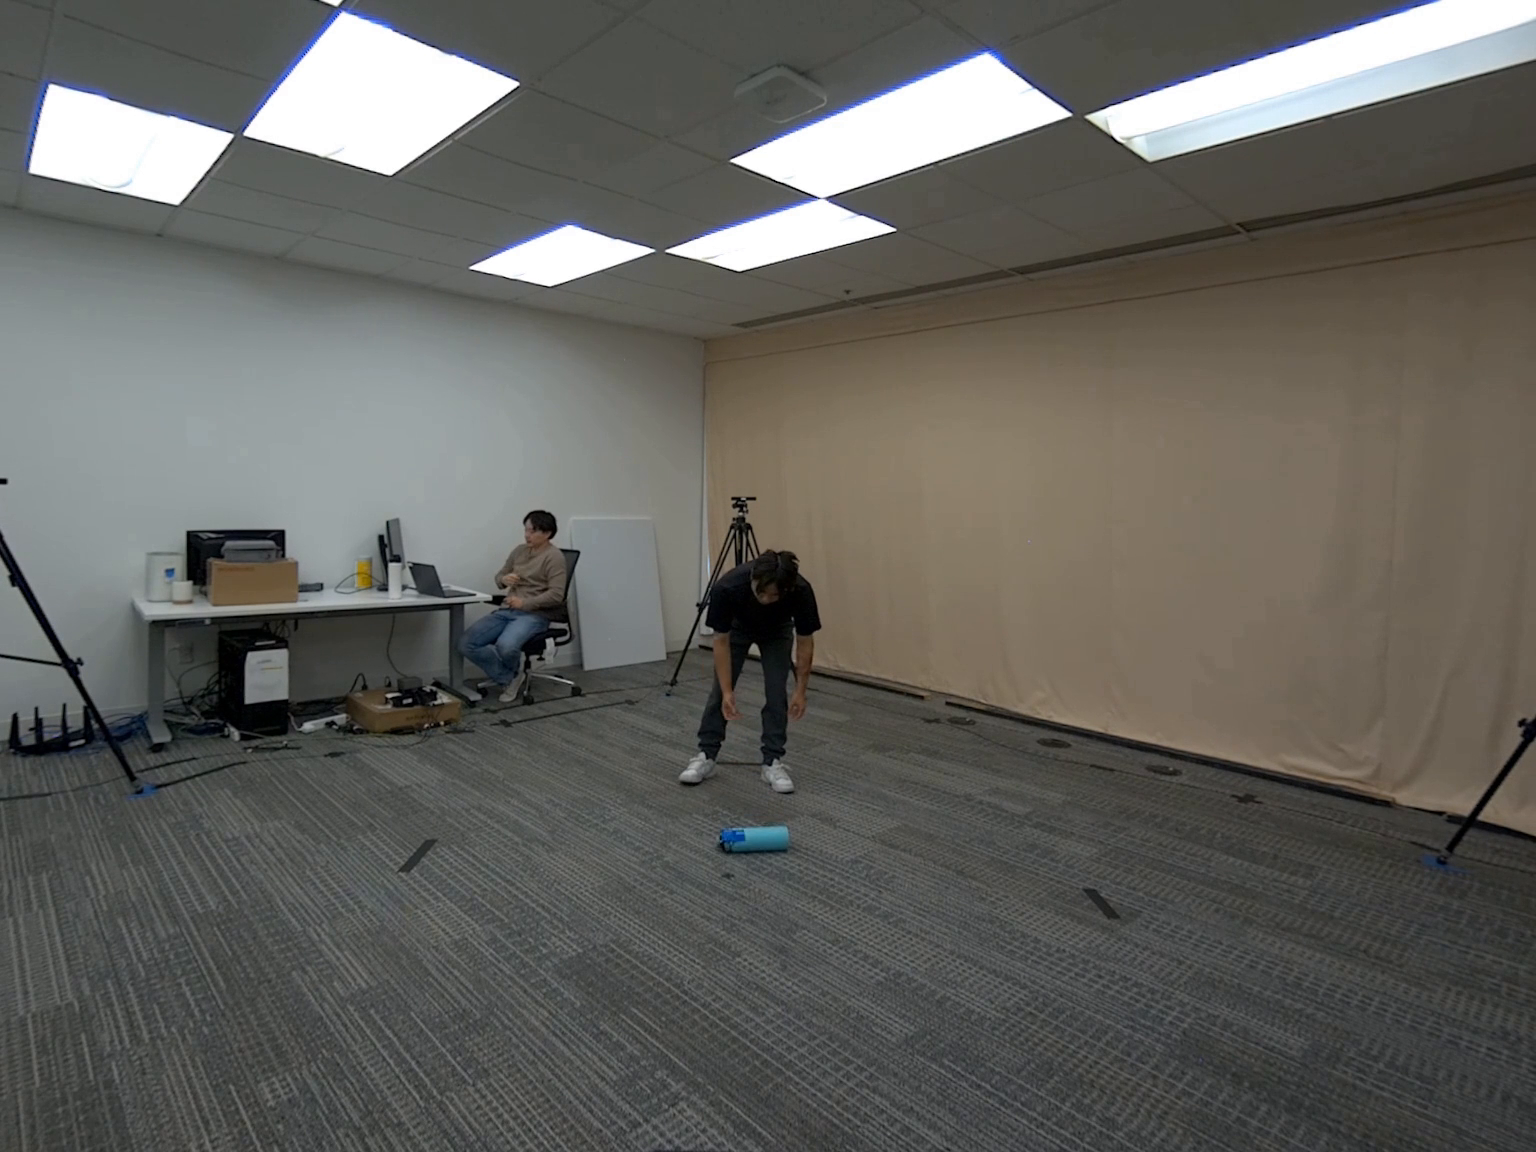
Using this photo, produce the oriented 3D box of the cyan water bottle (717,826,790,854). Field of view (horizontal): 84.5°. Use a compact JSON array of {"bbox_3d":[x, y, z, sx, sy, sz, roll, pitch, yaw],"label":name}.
[{"bbox_3d":[-0.074,1.039,3.333,0.281,0.092,0.093,0,4,-9],"label":"cyan water bottle"}]
